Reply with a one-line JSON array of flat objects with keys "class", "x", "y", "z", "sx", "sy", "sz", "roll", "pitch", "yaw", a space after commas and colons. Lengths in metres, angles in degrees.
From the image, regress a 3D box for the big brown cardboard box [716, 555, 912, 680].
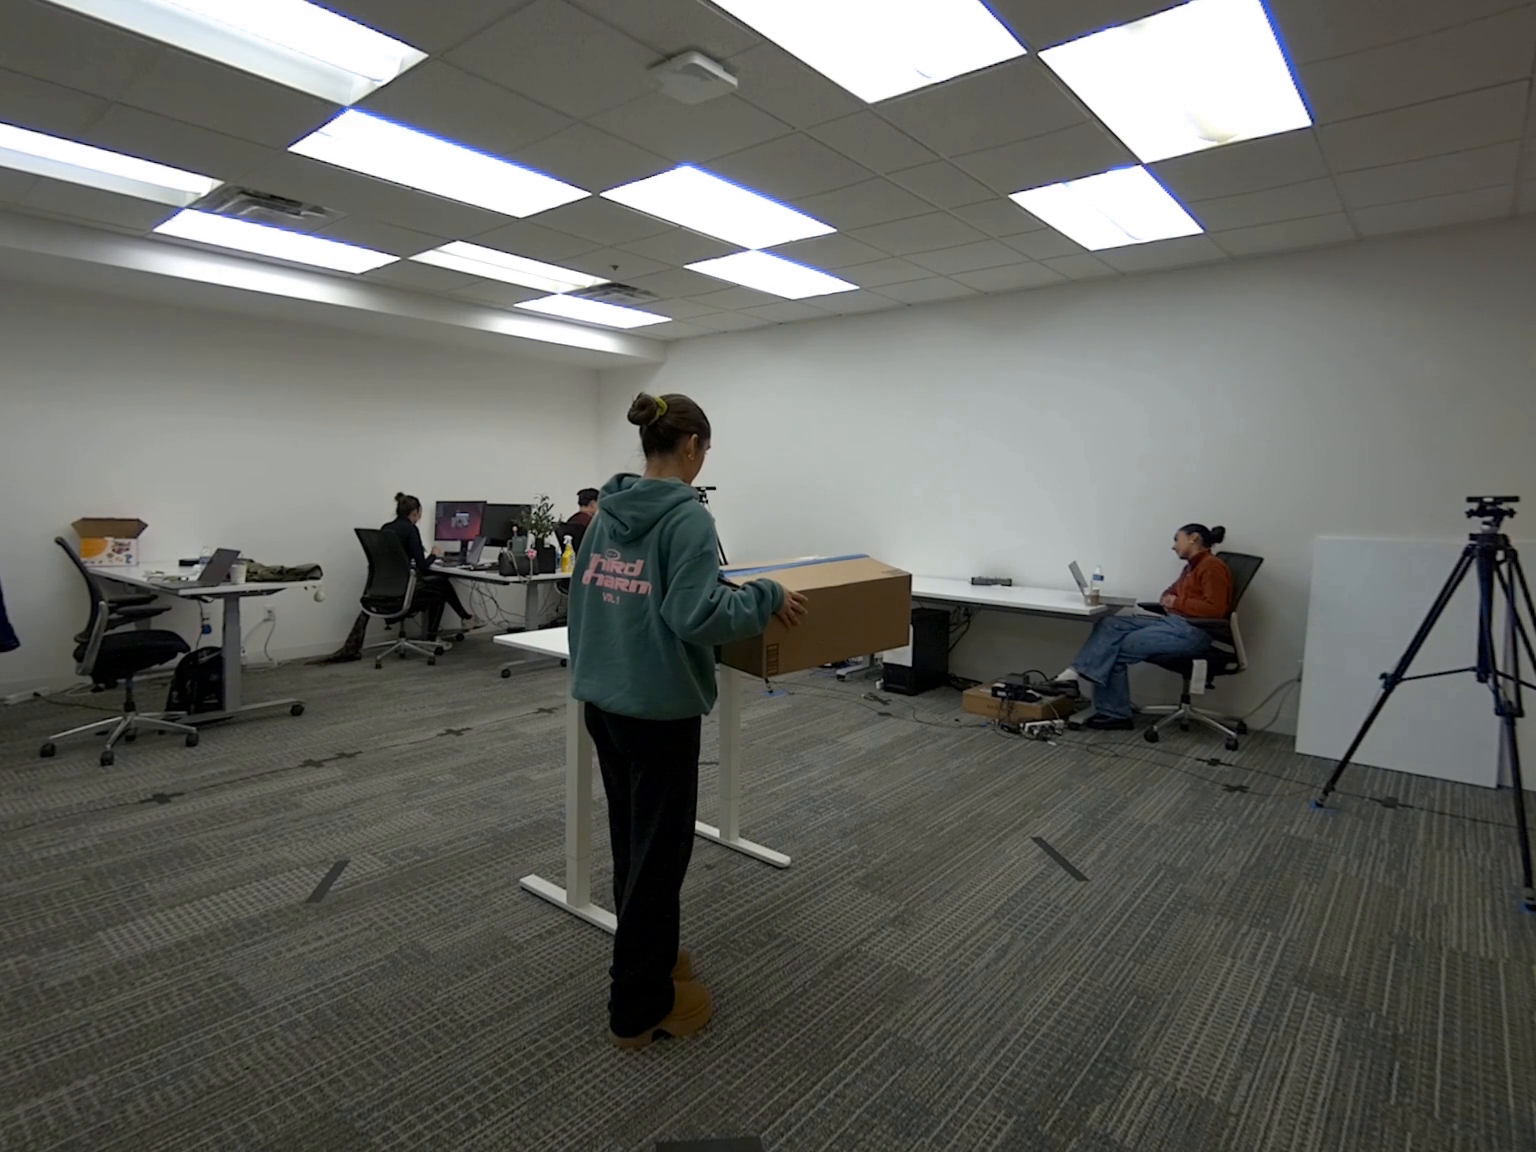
[{"class": "big brown cardboard box", "x": 0.065, "y": 0.085, "z": 2.448, "sx": 0.573, "sy": 0.231, "sz": 0.433, "roll": -8, "pitch": 13, "yaw": -39}]
